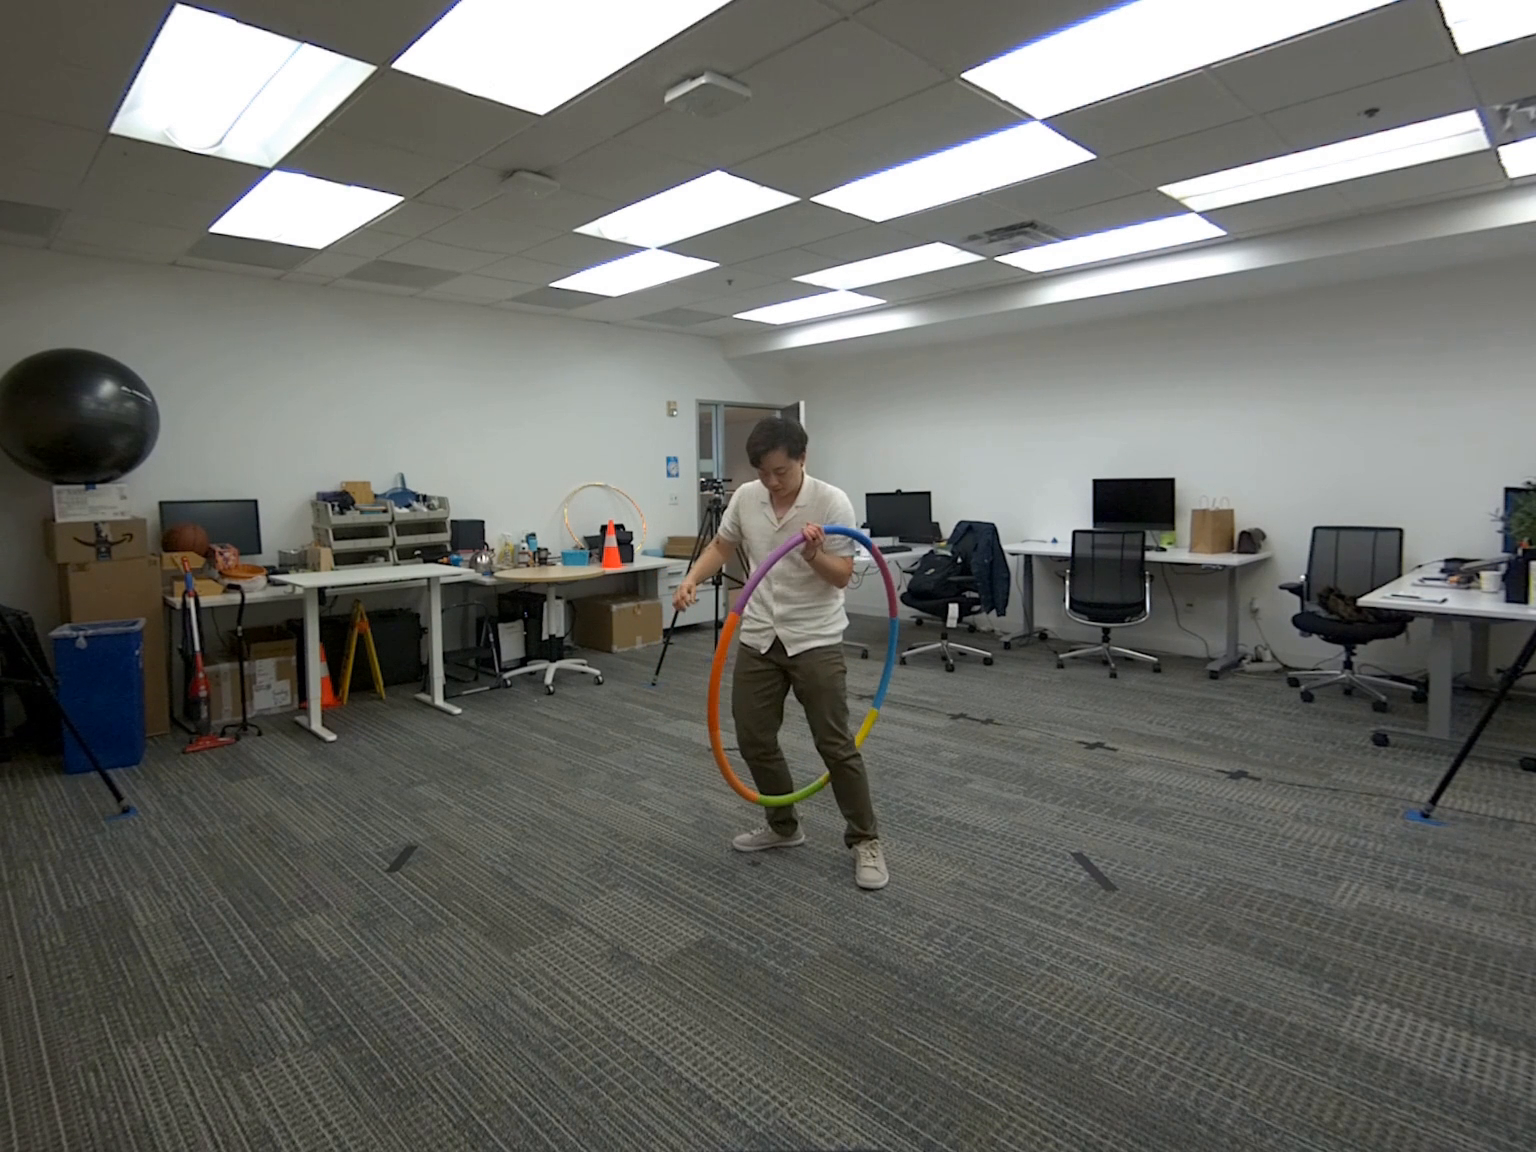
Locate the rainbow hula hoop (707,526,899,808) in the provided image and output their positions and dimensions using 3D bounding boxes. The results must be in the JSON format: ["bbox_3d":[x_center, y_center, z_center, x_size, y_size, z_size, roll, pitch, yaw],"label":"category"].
[{"bbox_3d":[0.157,0.308,2.938,0.037,0.970,0.953,16,15,41],"label":"rainbow hula hoop"}]
